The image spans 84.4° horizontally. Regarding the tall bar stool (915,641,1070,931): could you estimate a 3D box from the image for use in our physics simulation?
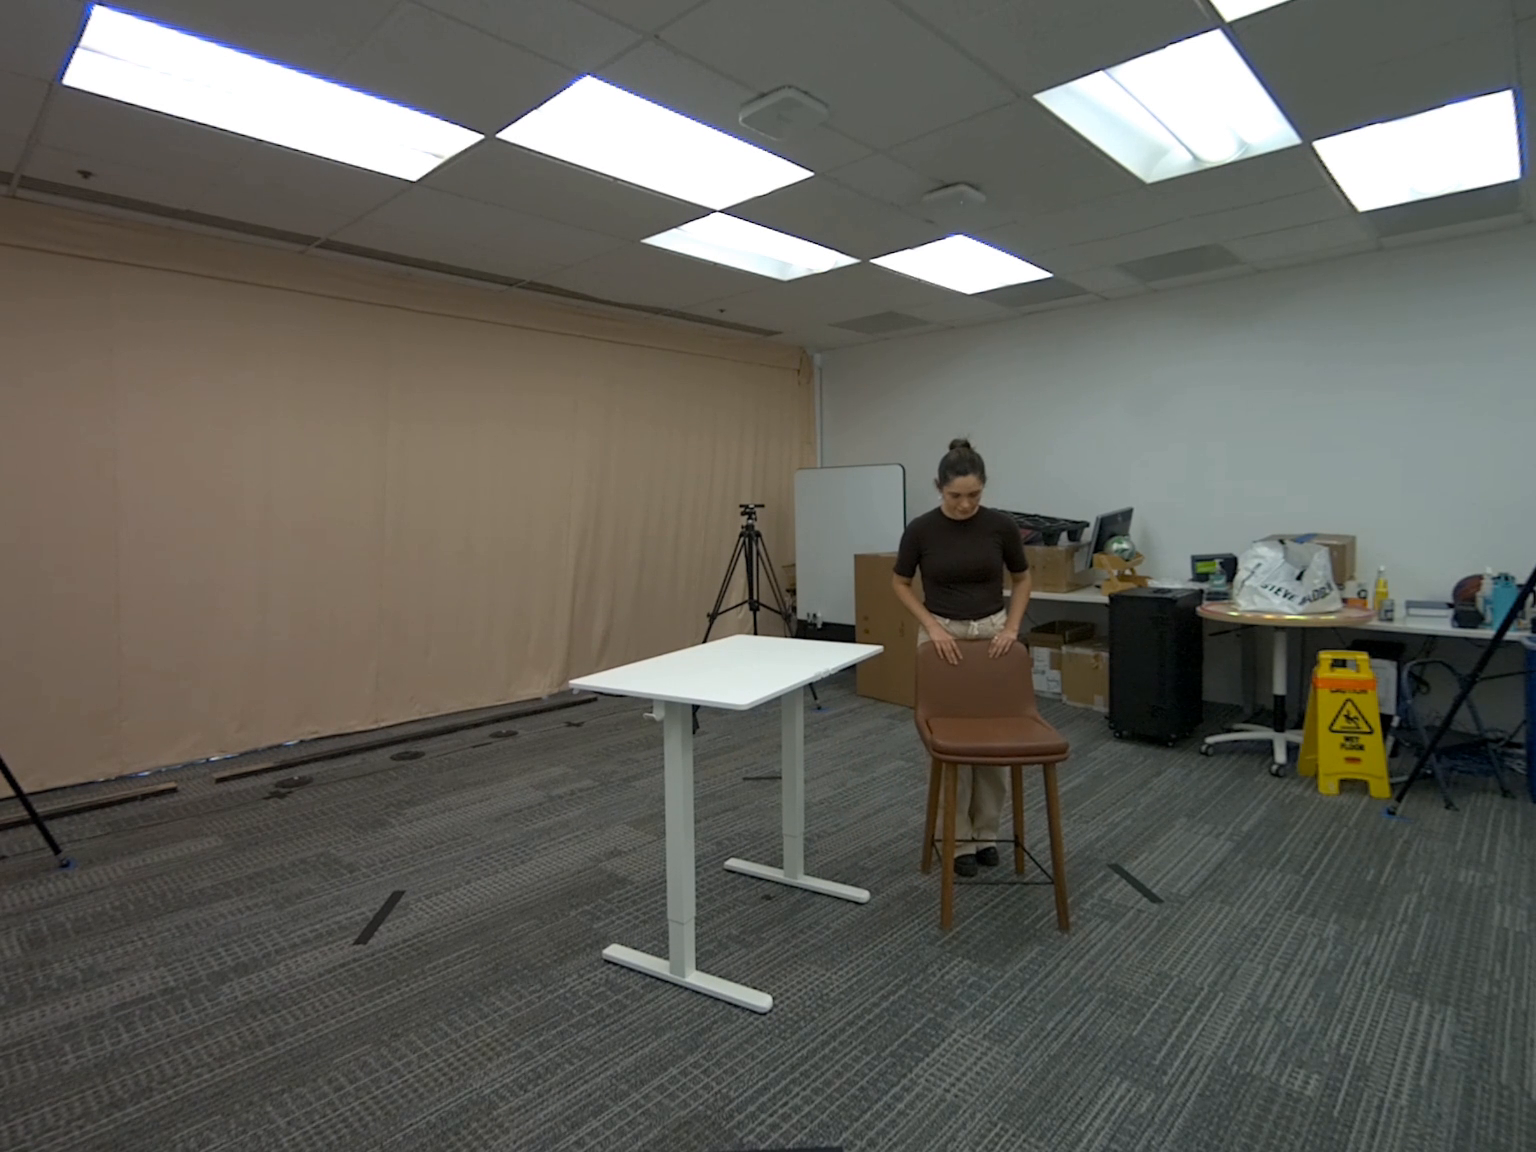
[{"bbox_3d":[0.764,0.699,2.927,0.458,0.889,0.467,1,1,1],"label":"tall bar stool"}]
